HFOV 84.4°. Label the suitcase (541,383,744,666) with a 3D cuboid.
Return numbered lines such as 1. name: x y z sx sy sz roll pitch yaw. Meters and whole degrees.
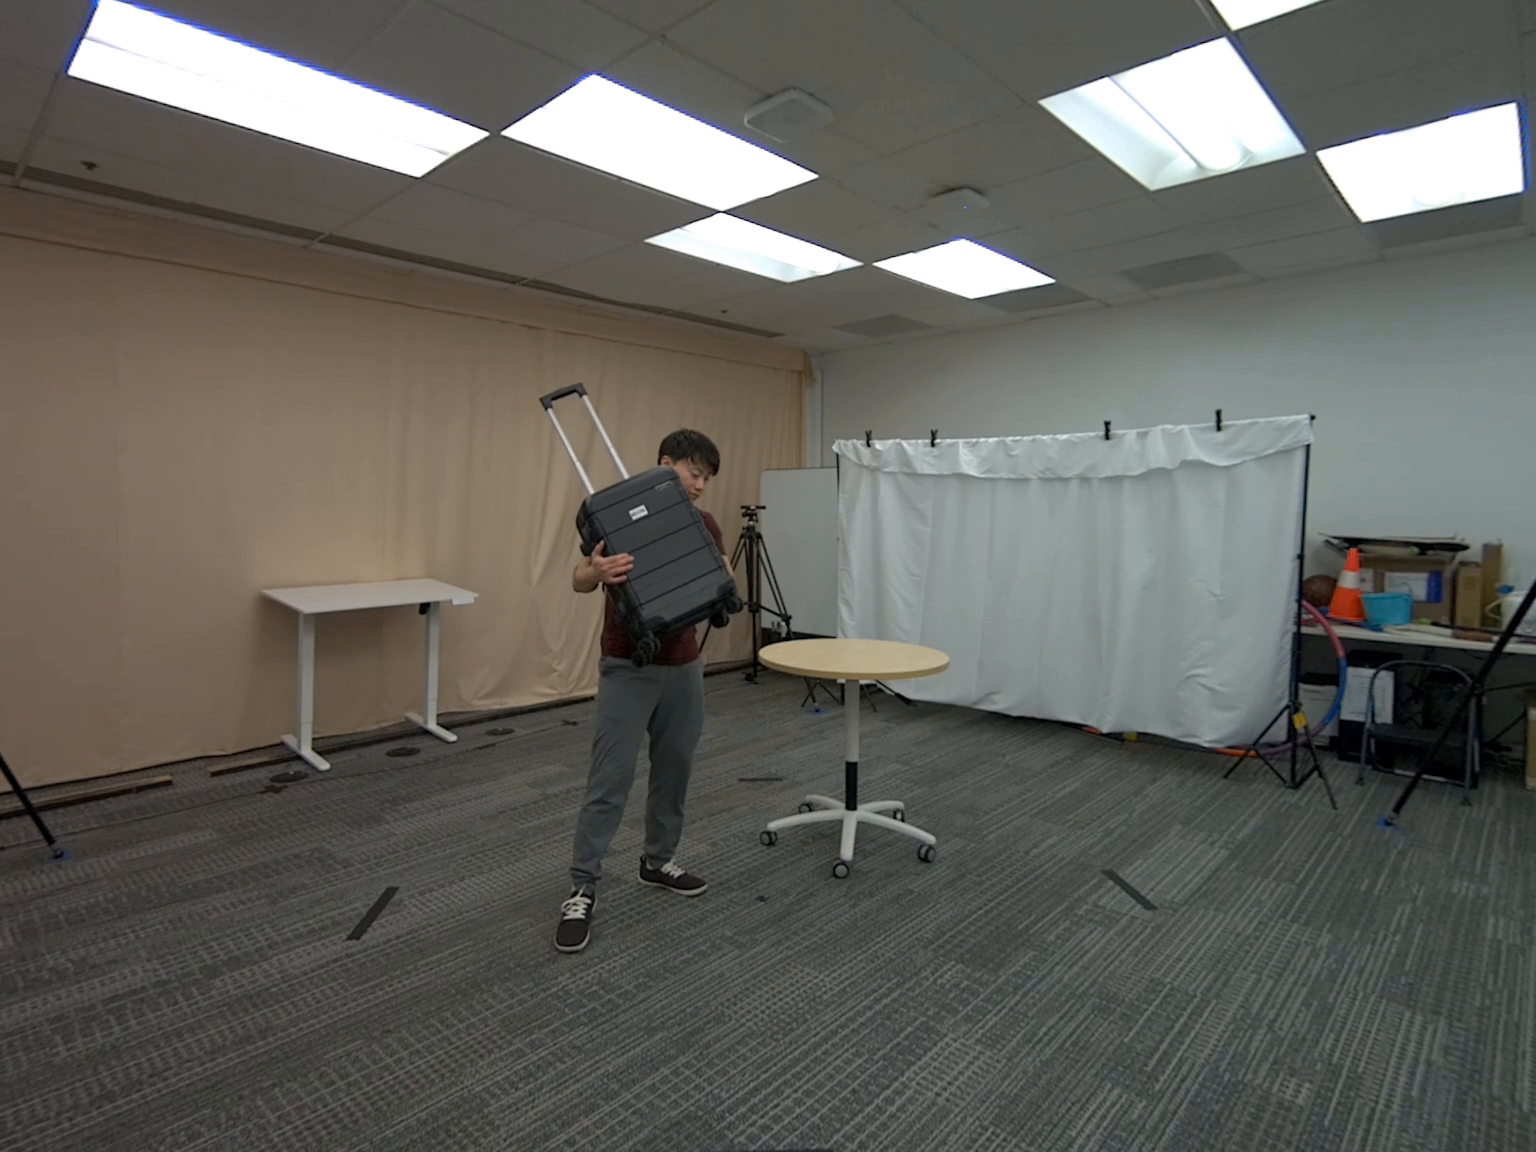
1. suitcase: -0.451 -0.229 2.720 0.379 0.988 0.257 -25 -9 -17
